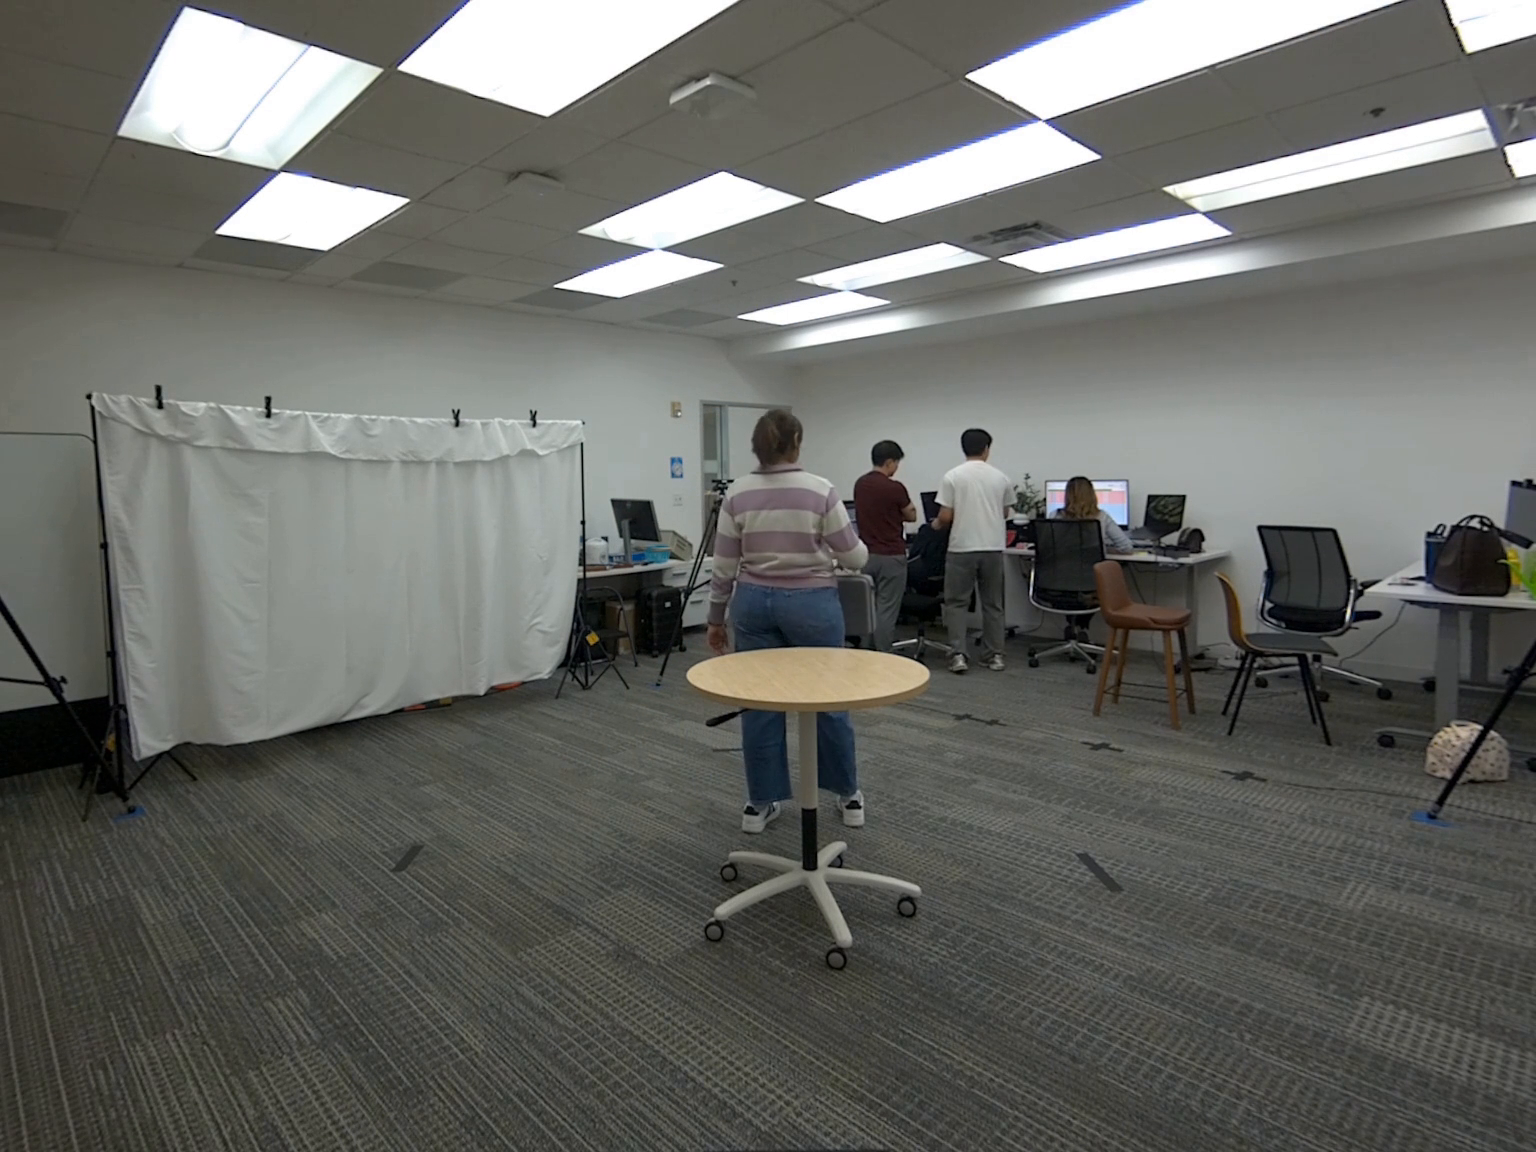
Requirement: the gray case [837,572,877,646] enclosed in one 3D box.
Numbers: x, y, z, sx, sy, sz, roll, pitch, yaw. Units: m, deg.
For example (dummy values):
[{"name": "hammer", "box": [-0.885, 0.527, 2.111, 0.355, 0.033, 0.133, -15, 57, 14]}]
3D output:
[{"name": "gray case", "box": [0.318, 0.115, 3.651, 0.263, 0.258, 0.103, 0, 9, 25]}]
